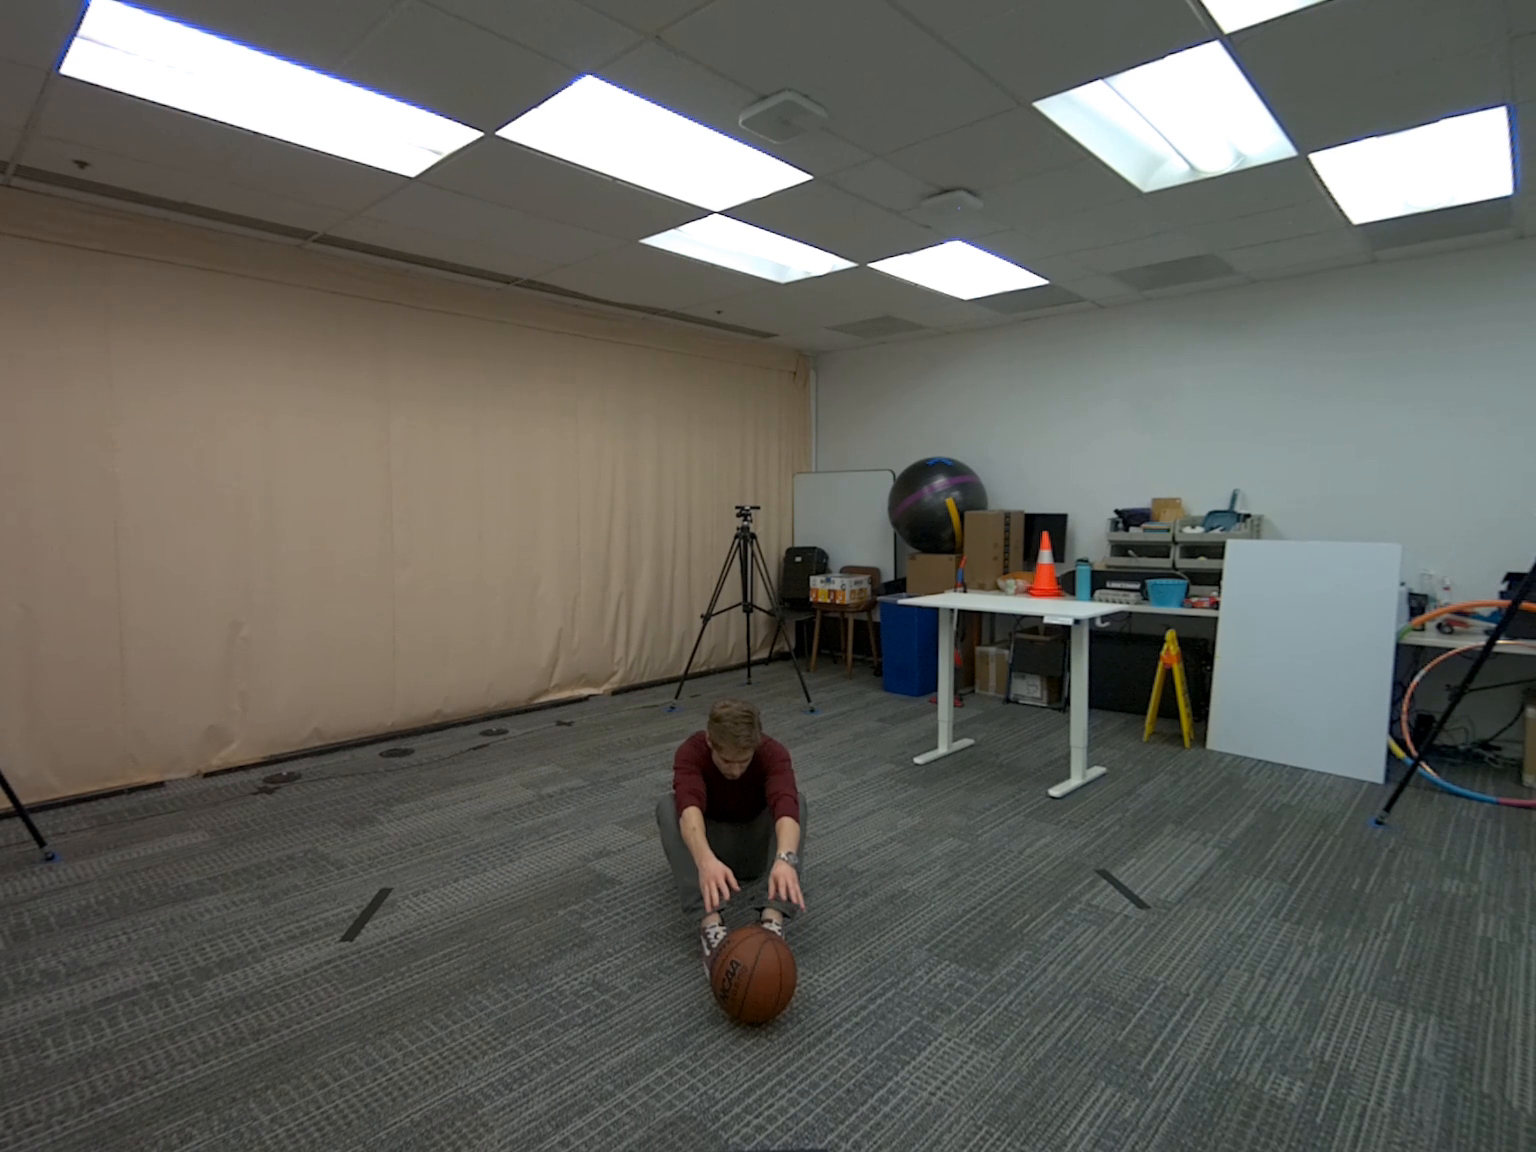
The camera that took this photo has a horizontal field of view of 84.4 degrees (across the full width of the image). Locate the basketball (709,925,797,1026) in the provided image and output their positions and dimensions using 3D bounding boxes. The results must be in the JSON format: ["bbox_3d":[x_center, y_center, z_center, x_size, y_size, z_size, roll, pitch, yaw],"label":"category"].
[{"bbox_3d":[-0.042,1.078,2.291,0.236,0.235,0.237,0,4,-2],"label":"basketball"}]
